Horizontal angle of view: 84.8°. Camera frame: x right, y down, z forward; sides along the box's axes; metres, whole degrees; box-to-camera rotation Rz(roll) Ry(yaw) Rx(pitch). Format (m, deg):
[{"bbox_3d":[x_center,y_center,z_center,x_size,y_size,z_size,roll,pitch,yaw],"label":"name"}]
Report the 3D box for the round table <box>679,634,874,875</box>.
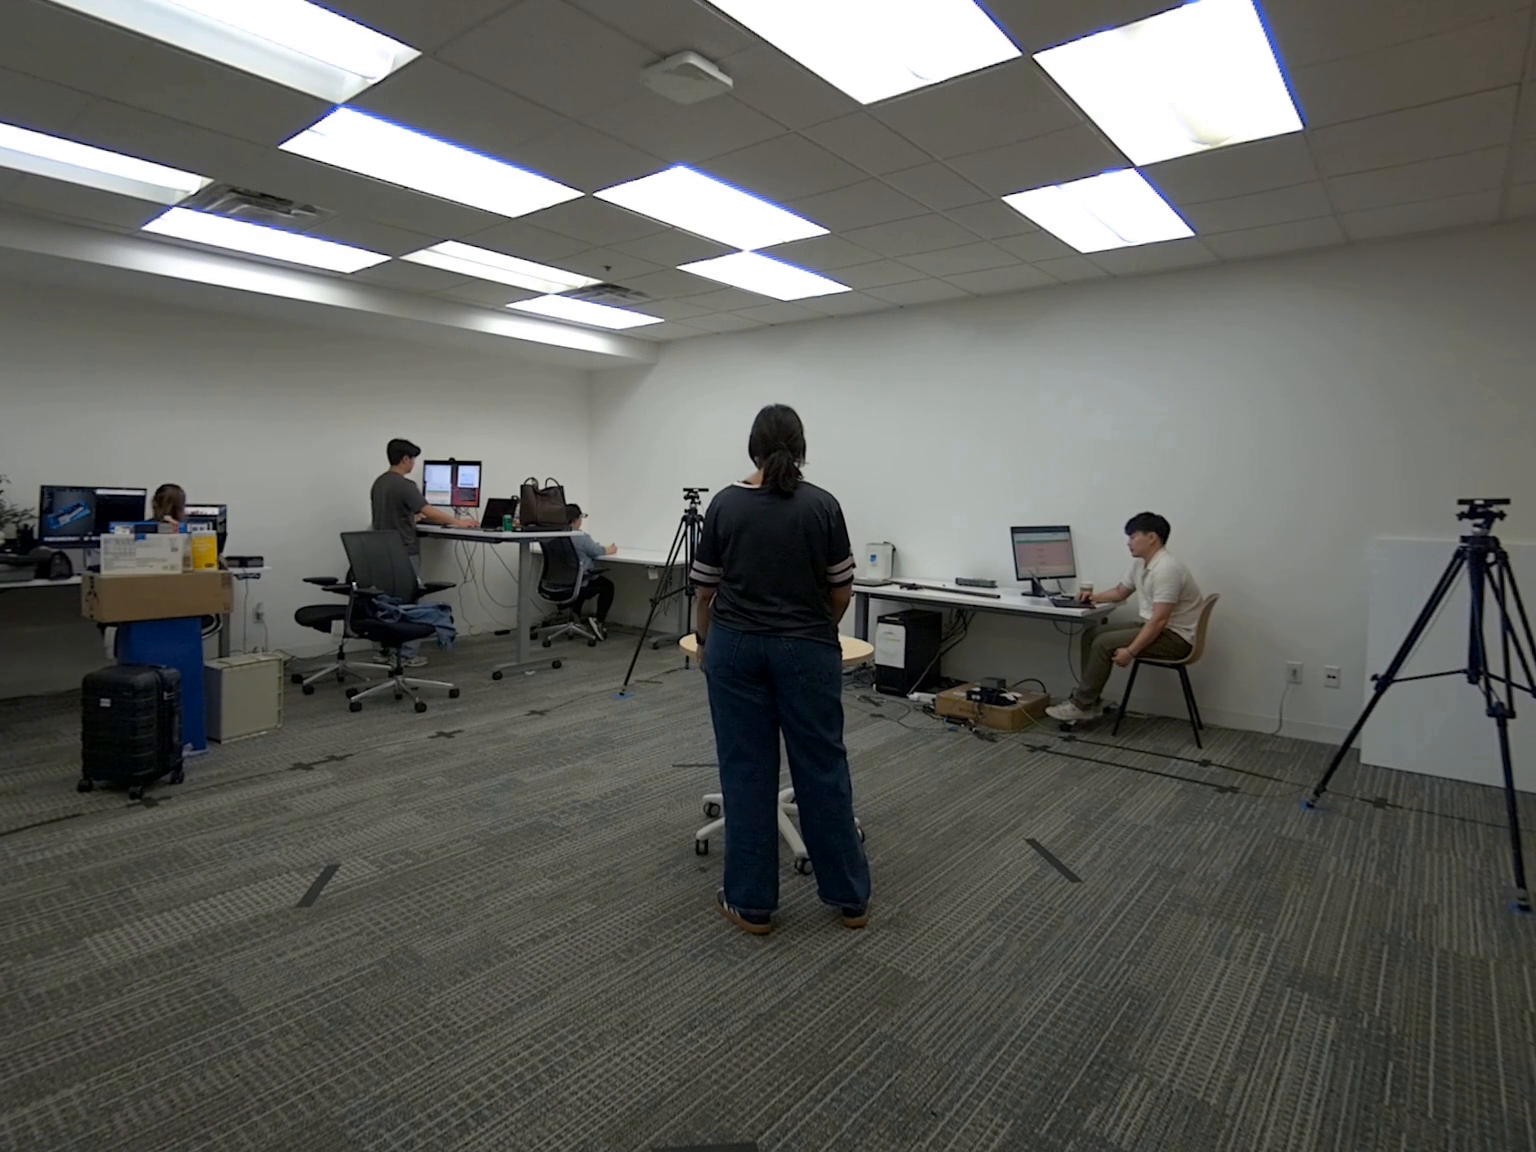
[{"bbox_3d":[0.008,0.656,3.385,0.763,0.792,0.767,1,4,-2],"label":"round table"}]
